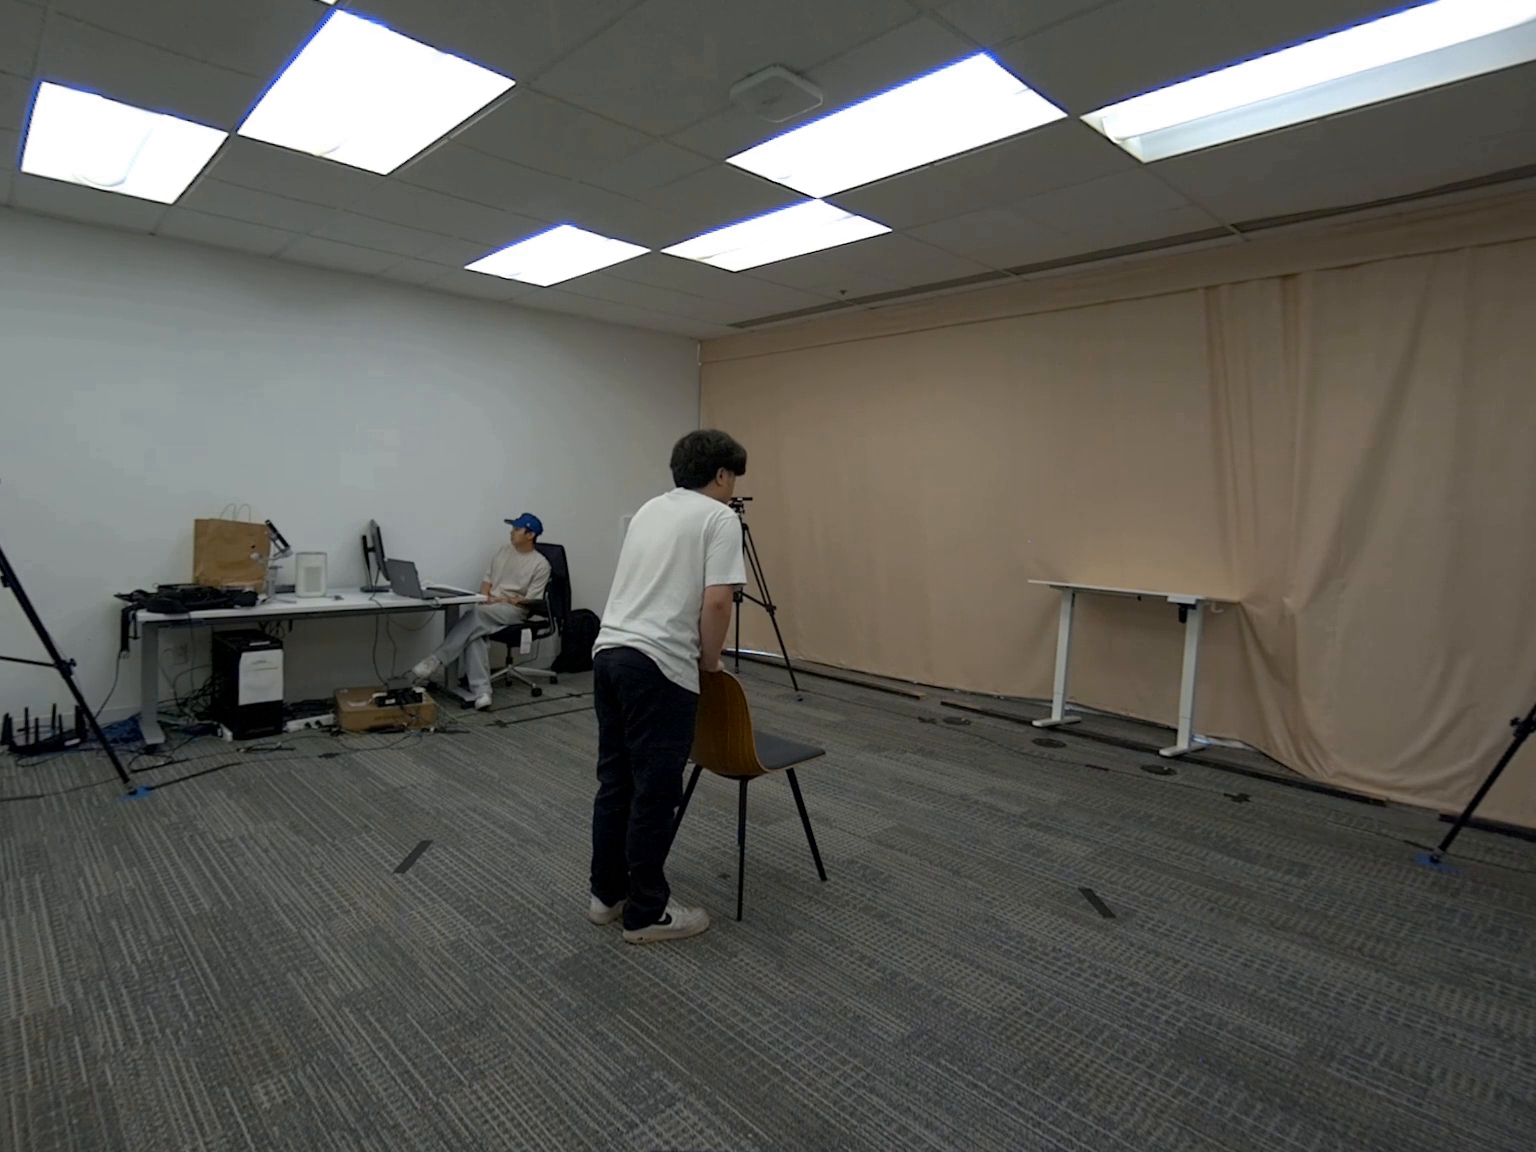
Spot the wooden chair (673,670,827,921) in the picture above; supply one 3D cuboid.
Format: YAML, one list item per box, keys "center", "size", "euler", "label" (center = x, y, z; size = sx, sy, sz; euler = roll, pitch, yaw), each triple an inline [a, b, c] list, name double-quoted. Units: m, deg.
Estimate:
- center: [-0.091, 0.689, 3.063]
  size: [0.490, 0.873, 0.512]
  euler: [4, 9, 44]
  label: "wooden chair"
